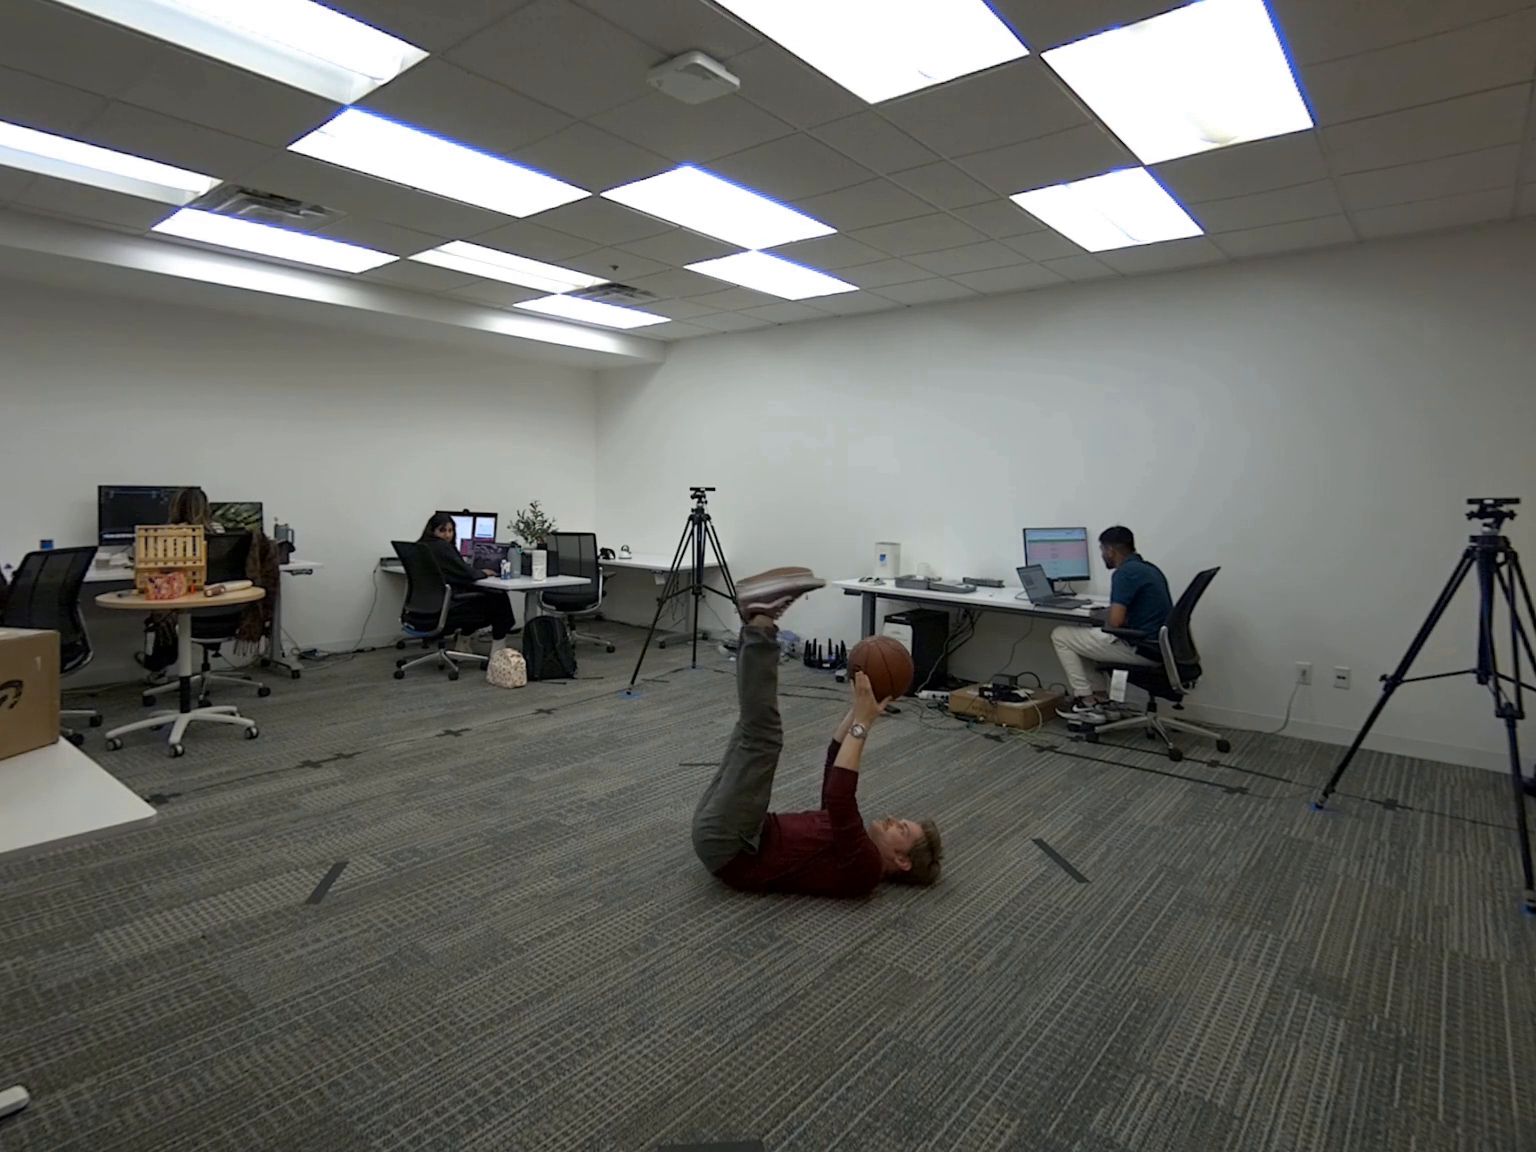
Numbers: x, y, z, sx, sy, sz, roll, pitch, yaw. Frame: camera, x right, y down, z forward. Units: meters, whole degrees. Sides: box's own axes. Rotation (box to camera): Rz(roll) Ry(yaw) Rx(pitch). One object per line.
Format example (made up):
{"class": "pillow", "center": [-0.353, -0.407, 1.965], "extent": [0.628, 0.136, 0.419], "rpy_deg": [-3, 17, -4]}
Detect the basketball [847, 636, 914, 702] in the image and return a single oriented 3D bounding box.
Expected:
{"class": "basketball", "center": [0.398, 0.332, 3.052], "extent": [0.235, 0.235, 0.237], "rpy_deg": [1, 4, -2]}
